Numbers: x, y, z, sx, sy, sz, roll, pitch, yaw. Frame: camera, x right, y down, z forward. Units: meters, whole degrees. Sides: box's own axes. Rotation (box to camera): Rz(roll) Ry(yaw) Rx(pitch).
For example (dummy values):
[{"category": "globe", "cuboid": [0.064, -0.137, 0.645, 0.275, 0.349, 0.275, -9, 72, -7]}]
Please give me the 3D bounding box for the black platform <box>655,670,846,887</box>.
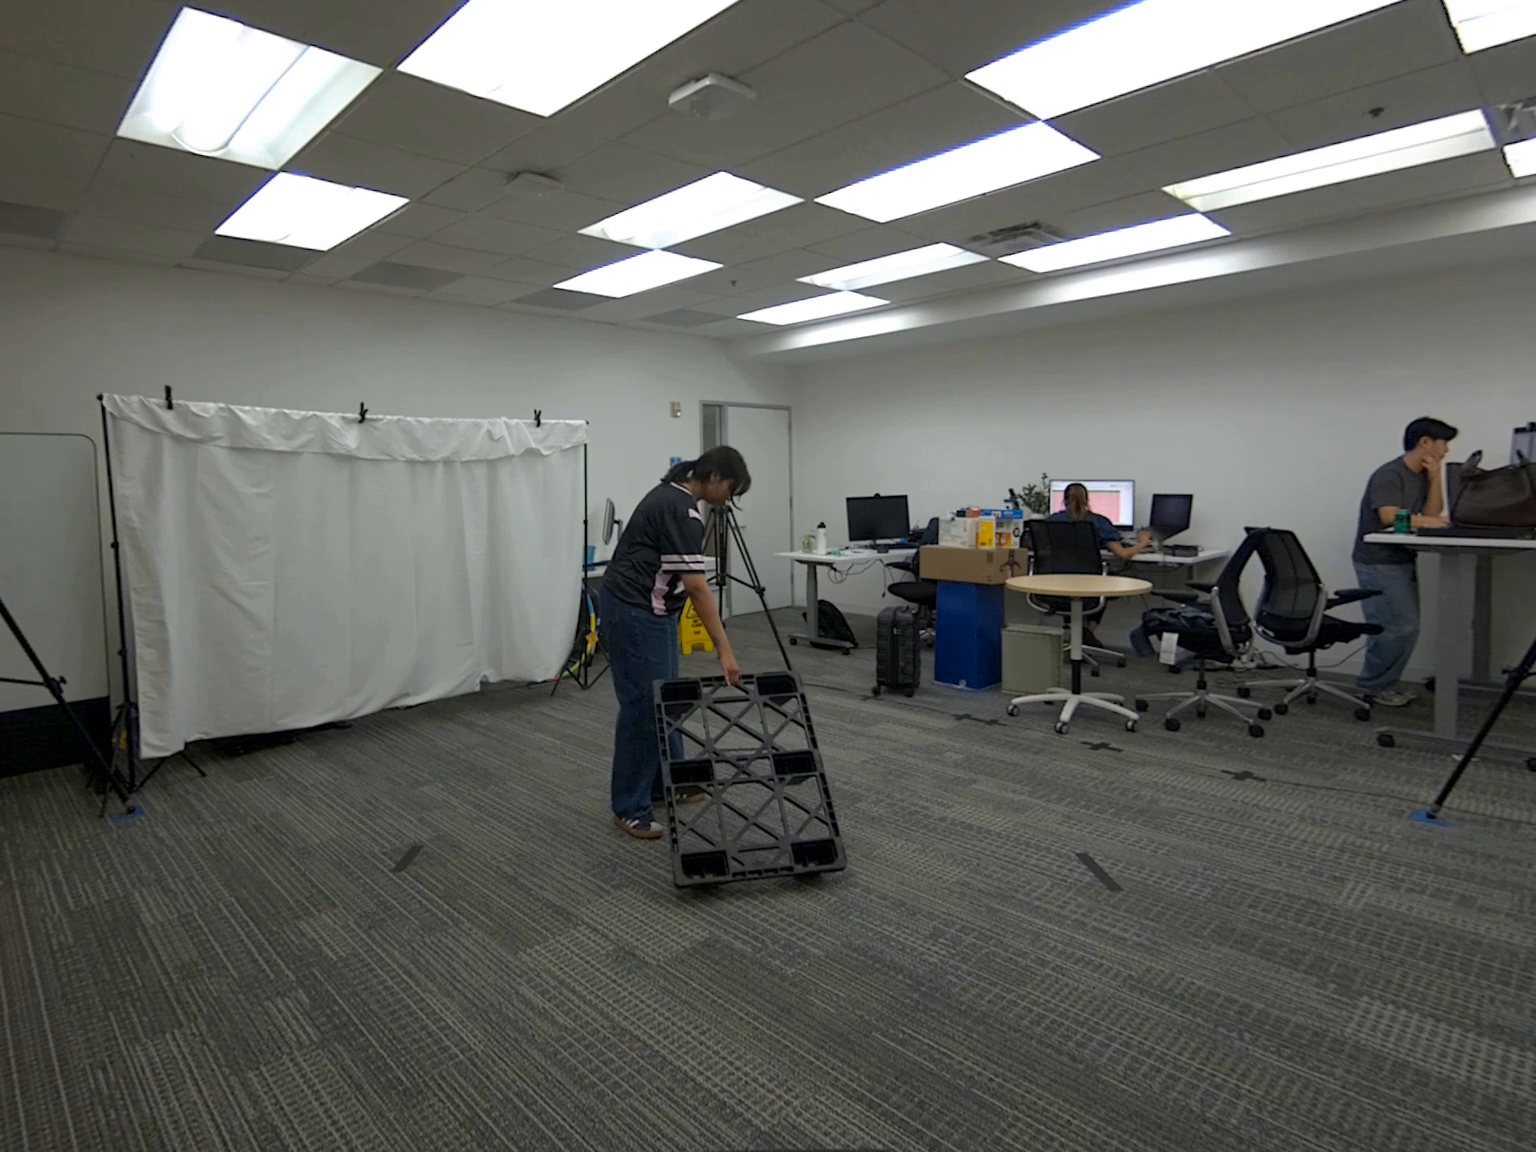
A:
[{"category": "black platform", "cuboid": [-0.102, 0.742, 3.161, 0.599, 0.832, 0.140, -3, -41, -11]}]
